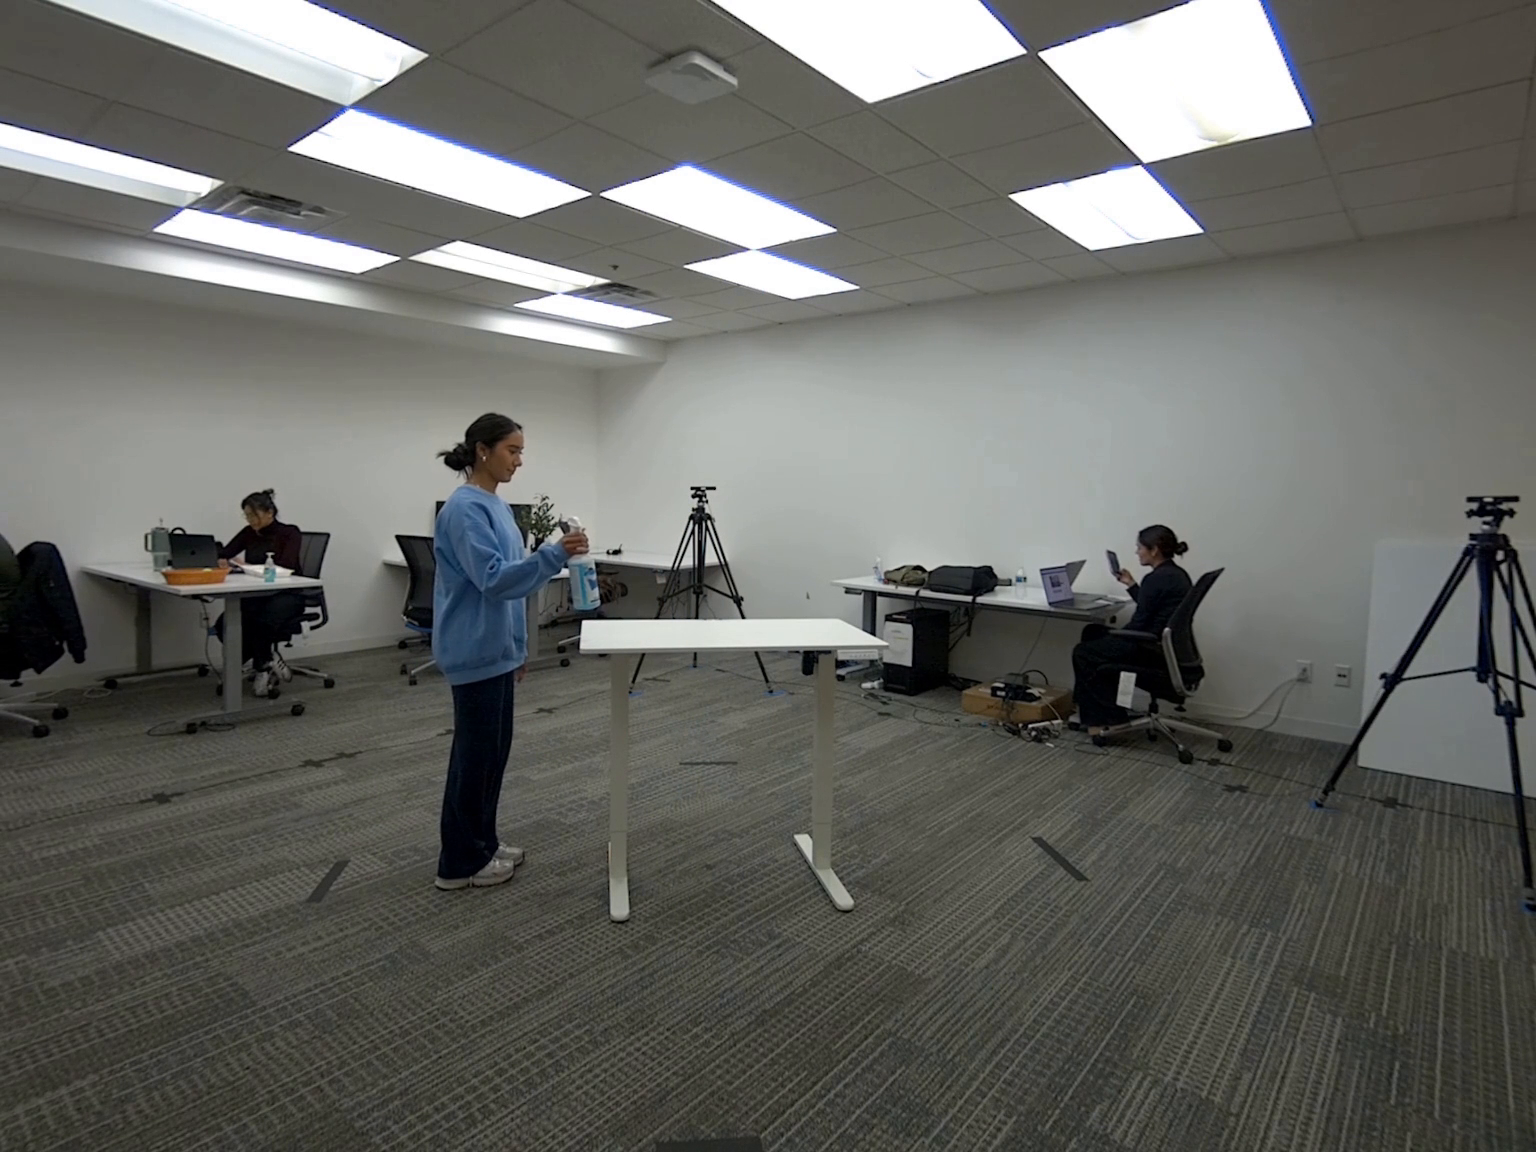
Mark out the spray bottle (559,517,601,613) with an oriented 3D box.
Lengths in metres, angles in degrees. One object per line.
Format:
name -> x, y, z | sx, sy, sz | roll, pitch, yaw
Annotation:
spray bottle -> -0.616, -0.047, 2.725 | 0.086, 0.295, 0.091 | -6, 6, -7
